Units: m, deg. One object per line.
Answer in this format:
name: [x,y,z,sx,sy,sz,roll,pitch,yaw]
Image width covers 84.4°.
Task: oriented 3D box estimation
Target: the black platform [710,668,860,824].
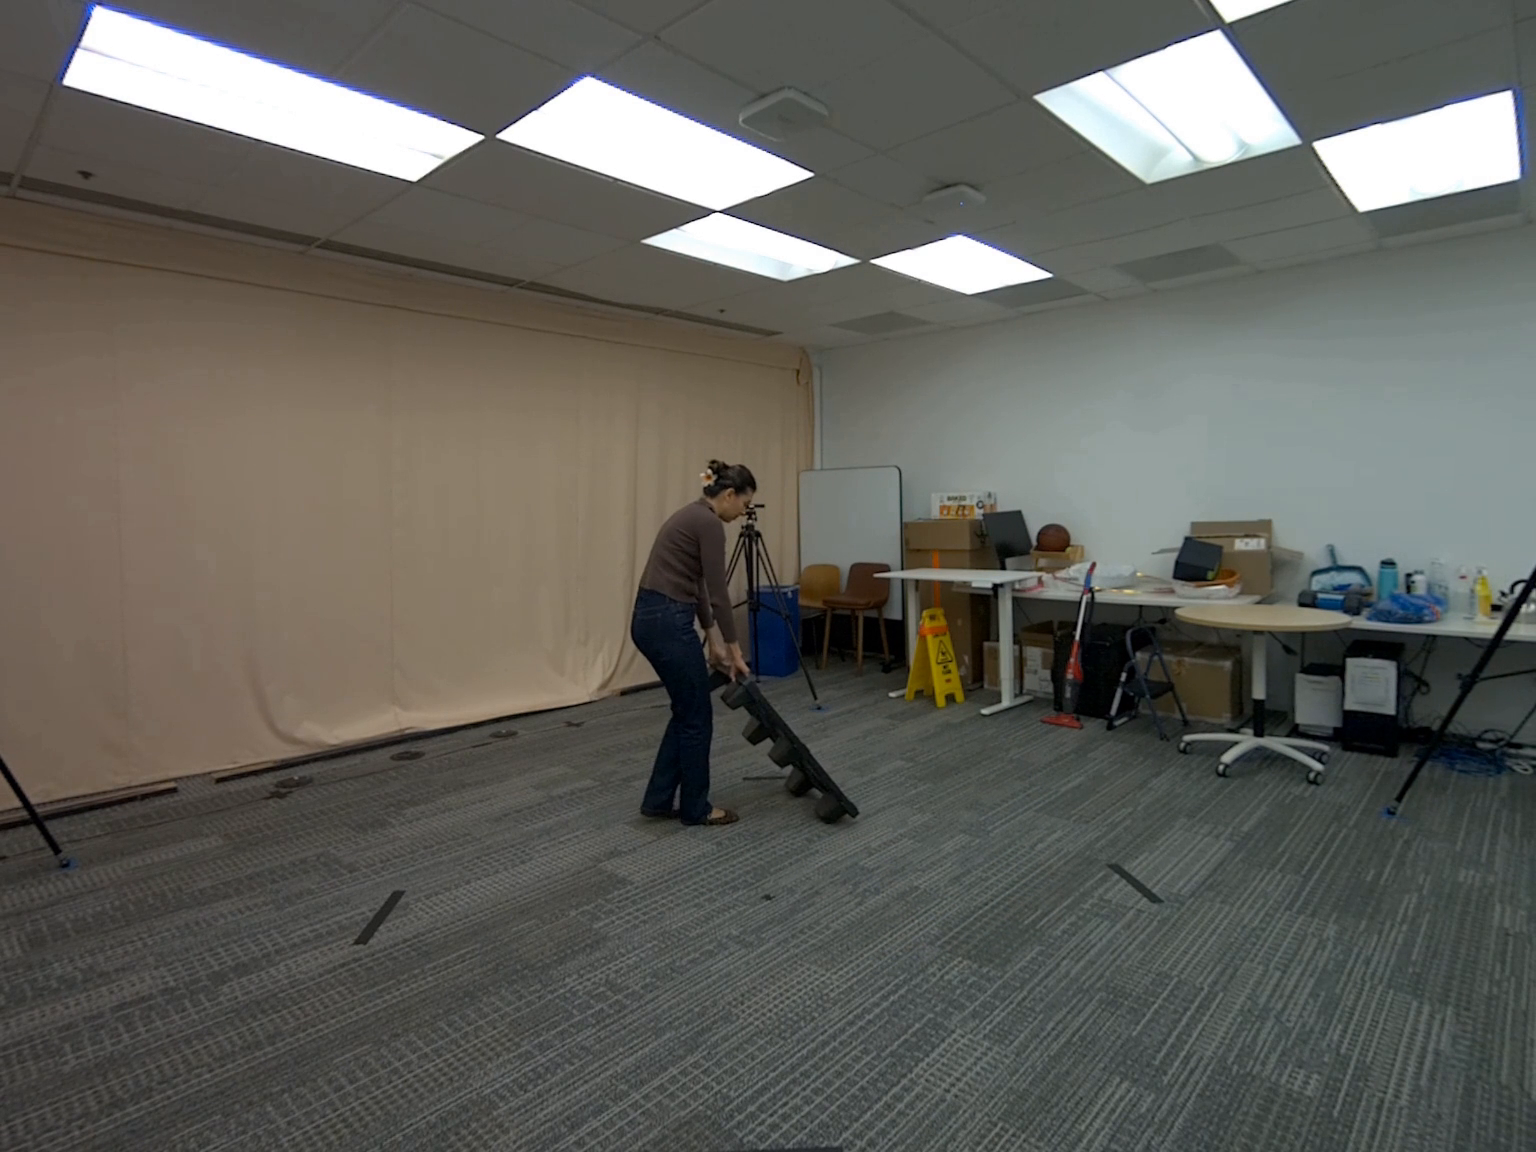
black platform: [0.013,0.741,3.813,0.142,0.795,0.617,-40,12,-13]
